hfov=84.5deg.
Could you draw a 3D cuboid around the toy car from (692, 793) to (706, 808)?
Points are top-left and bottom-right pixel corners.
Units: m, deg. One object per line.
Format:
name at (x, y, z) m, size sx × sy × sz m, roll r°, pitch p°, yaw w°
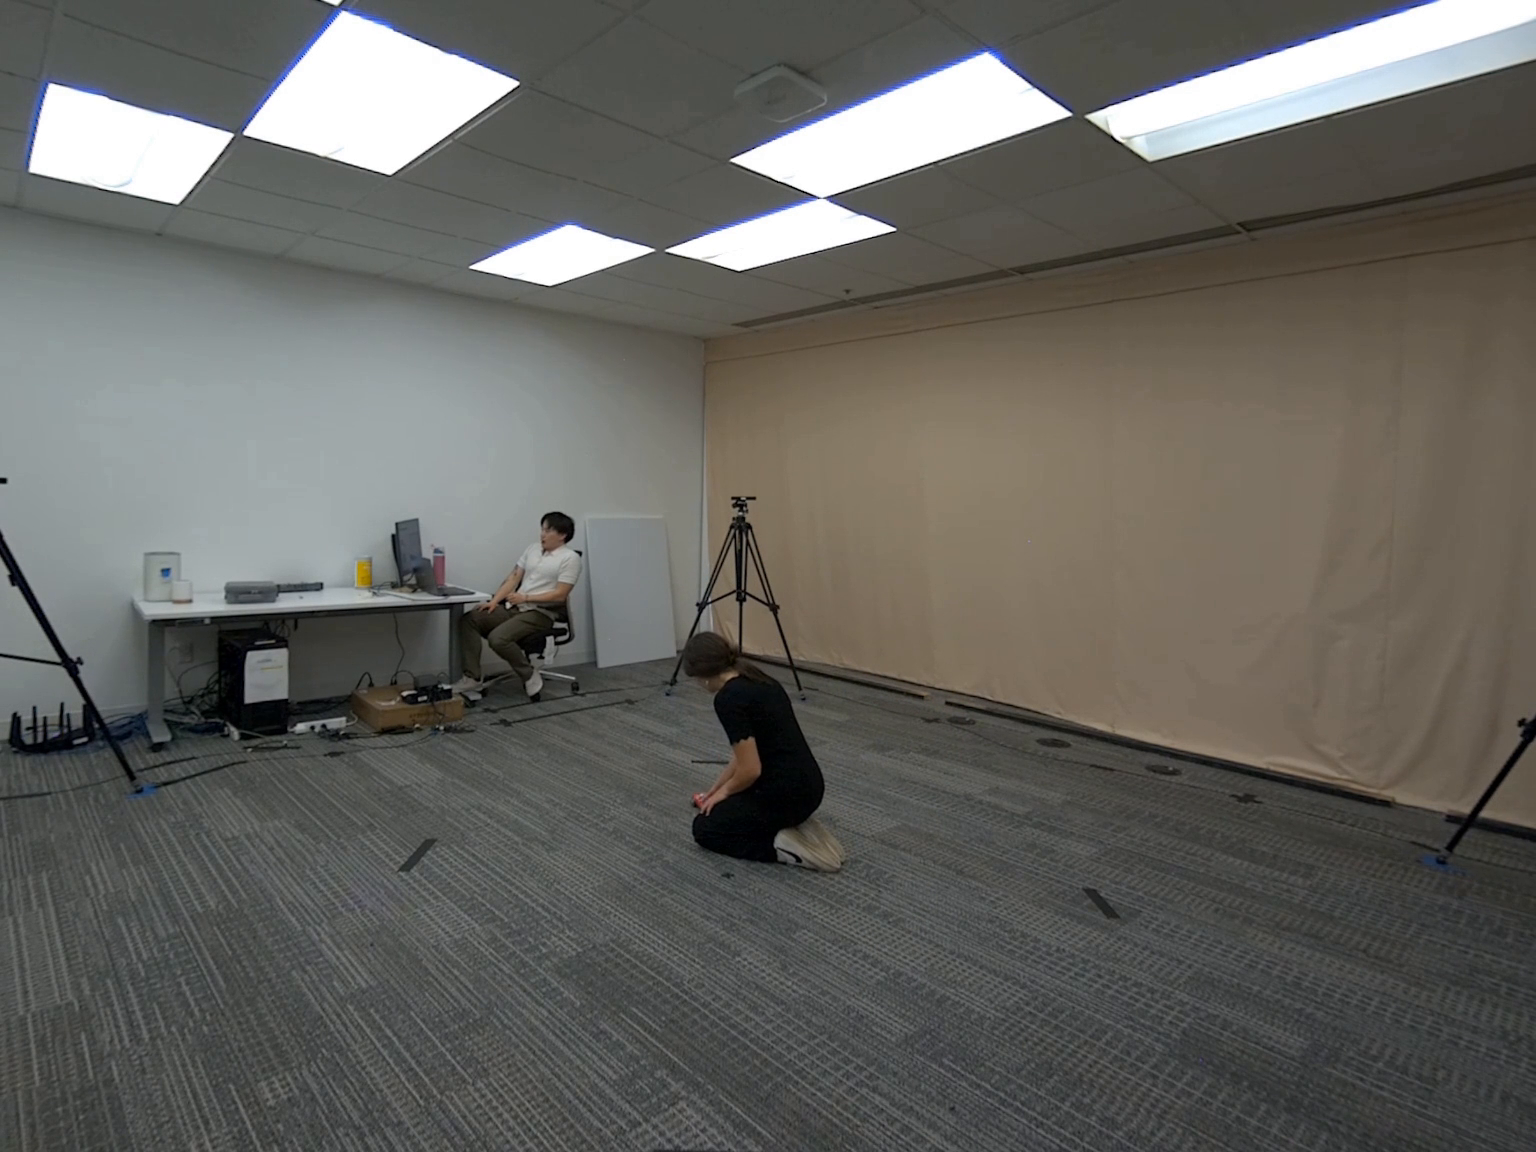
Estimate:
toy car at (-0.248, 1.020, 3.735) m, size 0.128 × 0.083 × 0.258 m, roll 1°, pitch -6°, yaw -24°
